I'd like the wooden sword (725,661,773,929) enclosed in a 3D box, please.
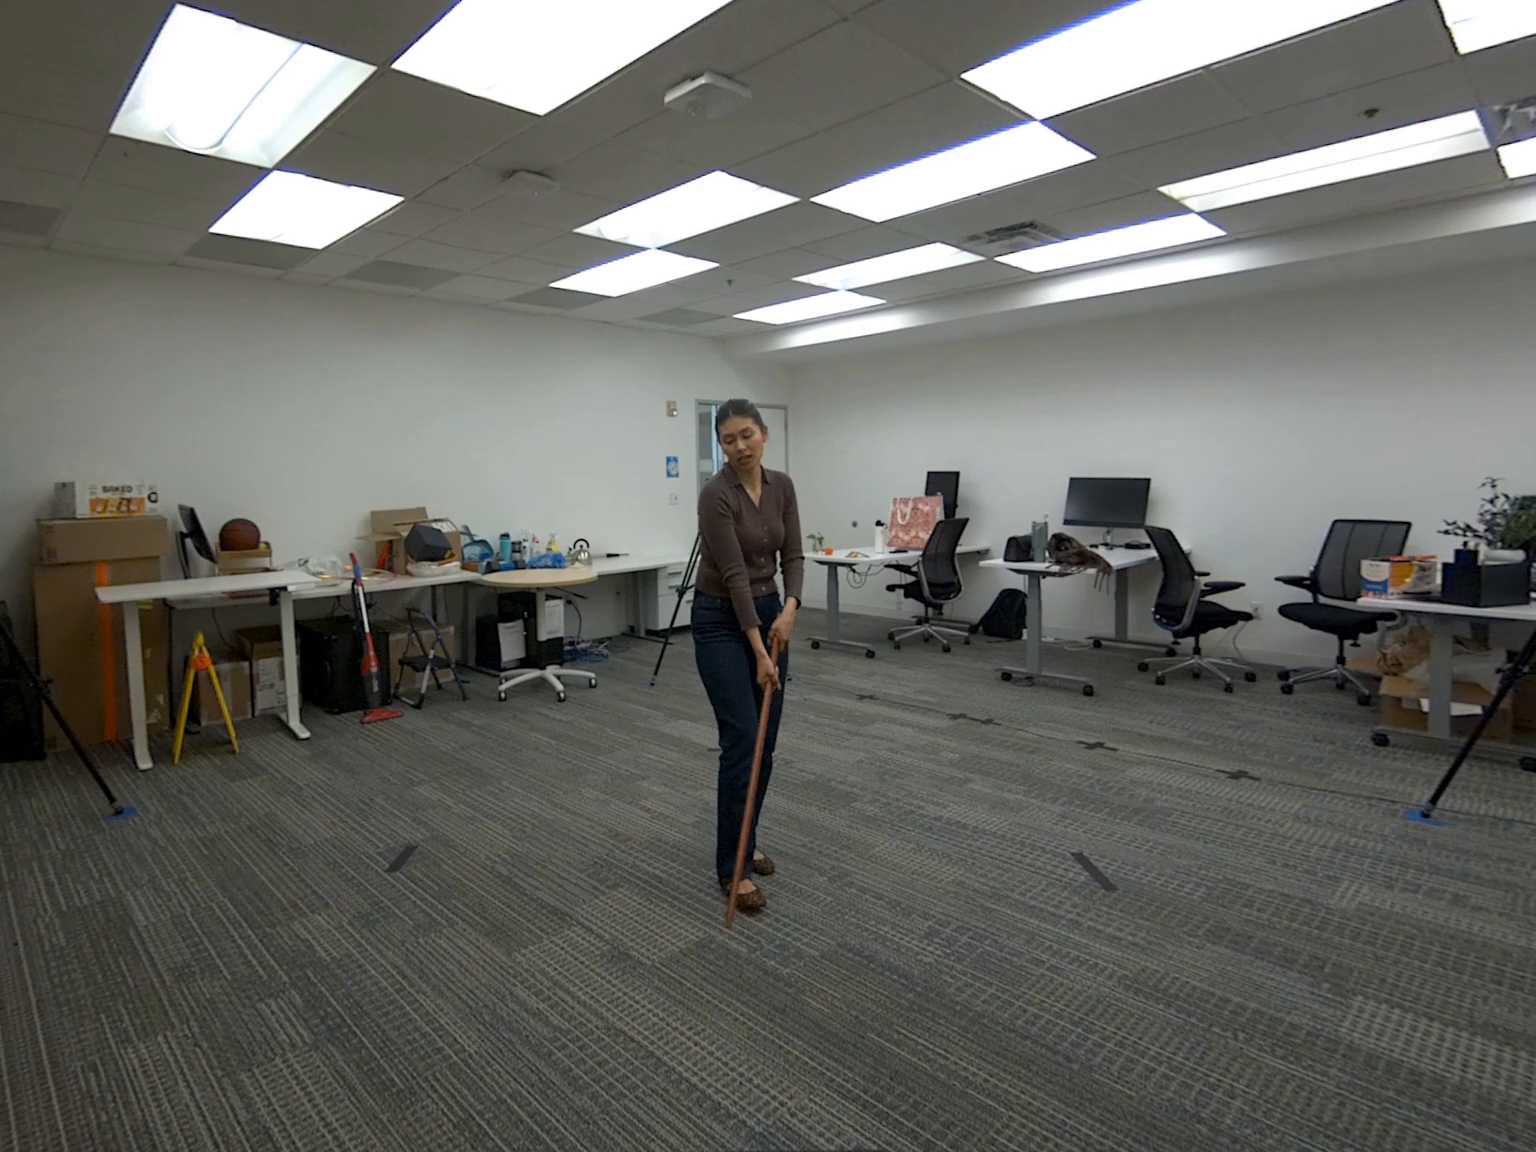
[{"bbox_3d":[-0.035,0.554,2.632,0.024,1.047,0.049,-19,-44,31],"label":"wooden sword"}]
